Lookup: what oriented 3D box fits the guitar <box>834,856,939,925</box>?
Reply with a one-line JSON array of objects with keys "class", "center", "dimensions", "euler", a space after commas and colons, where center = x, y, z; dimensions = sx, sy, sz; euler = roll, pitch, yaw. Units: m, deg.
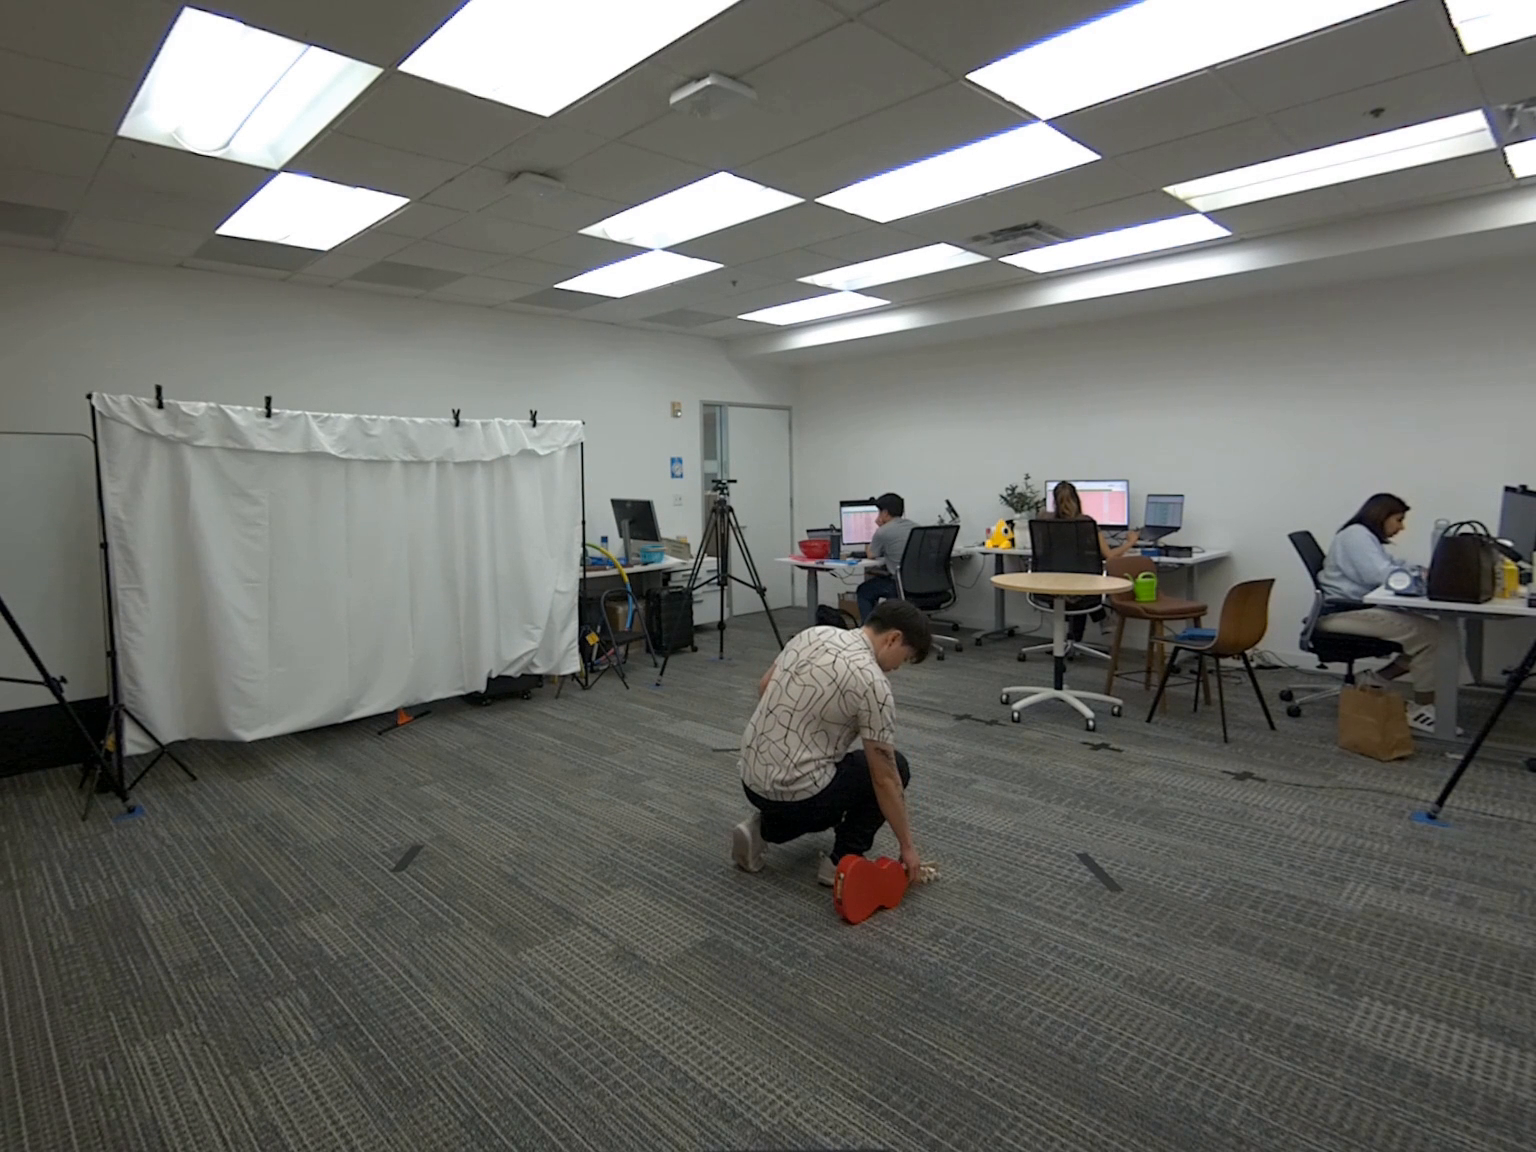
[{"class": "guitar", "center": [0.416, 0.979, 2.817], "dimensions": [0.485, 0.193, 0.072], "euler": [-5, 1, -37]}]
